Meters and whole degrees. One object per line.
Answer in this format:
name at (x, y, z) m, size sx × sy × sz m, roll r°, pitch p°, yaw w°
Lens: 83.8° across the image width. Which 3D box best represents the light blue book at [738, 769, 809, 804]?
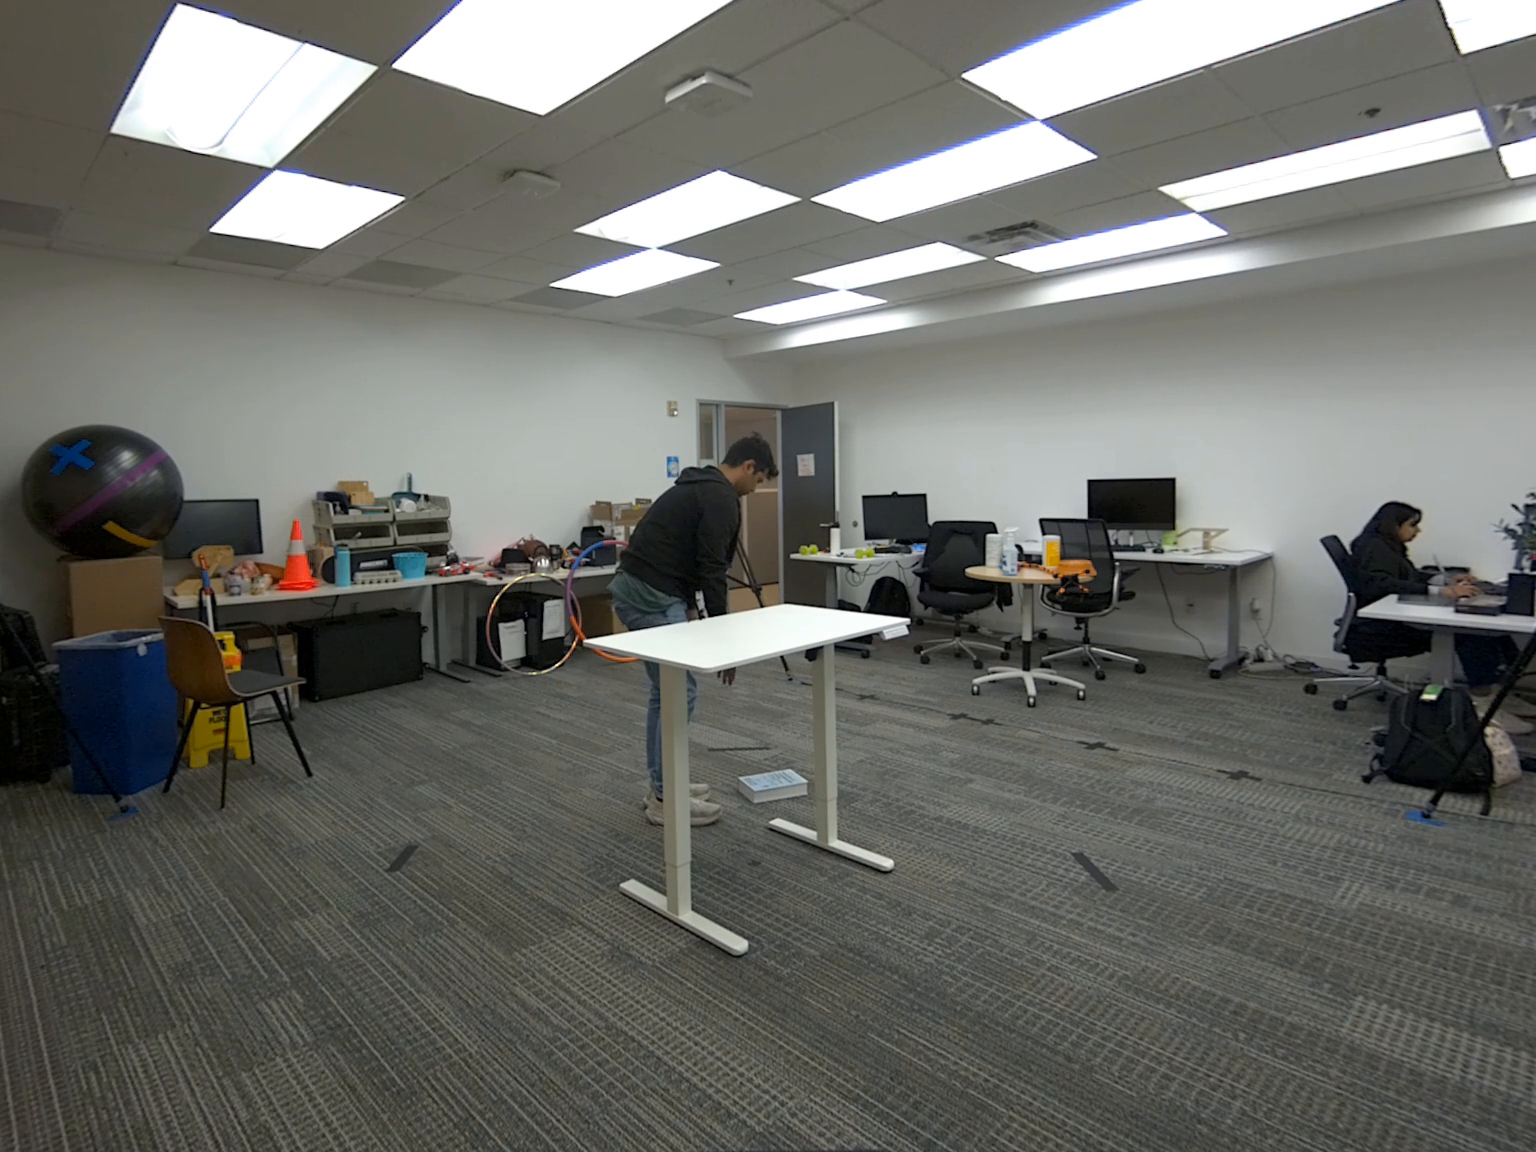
light blue book at (0.017, 0.931, 3.800) m, size 0.256 × 0.059 × 0.196 m, roll -4°, pitch 7°, yaw -22°
